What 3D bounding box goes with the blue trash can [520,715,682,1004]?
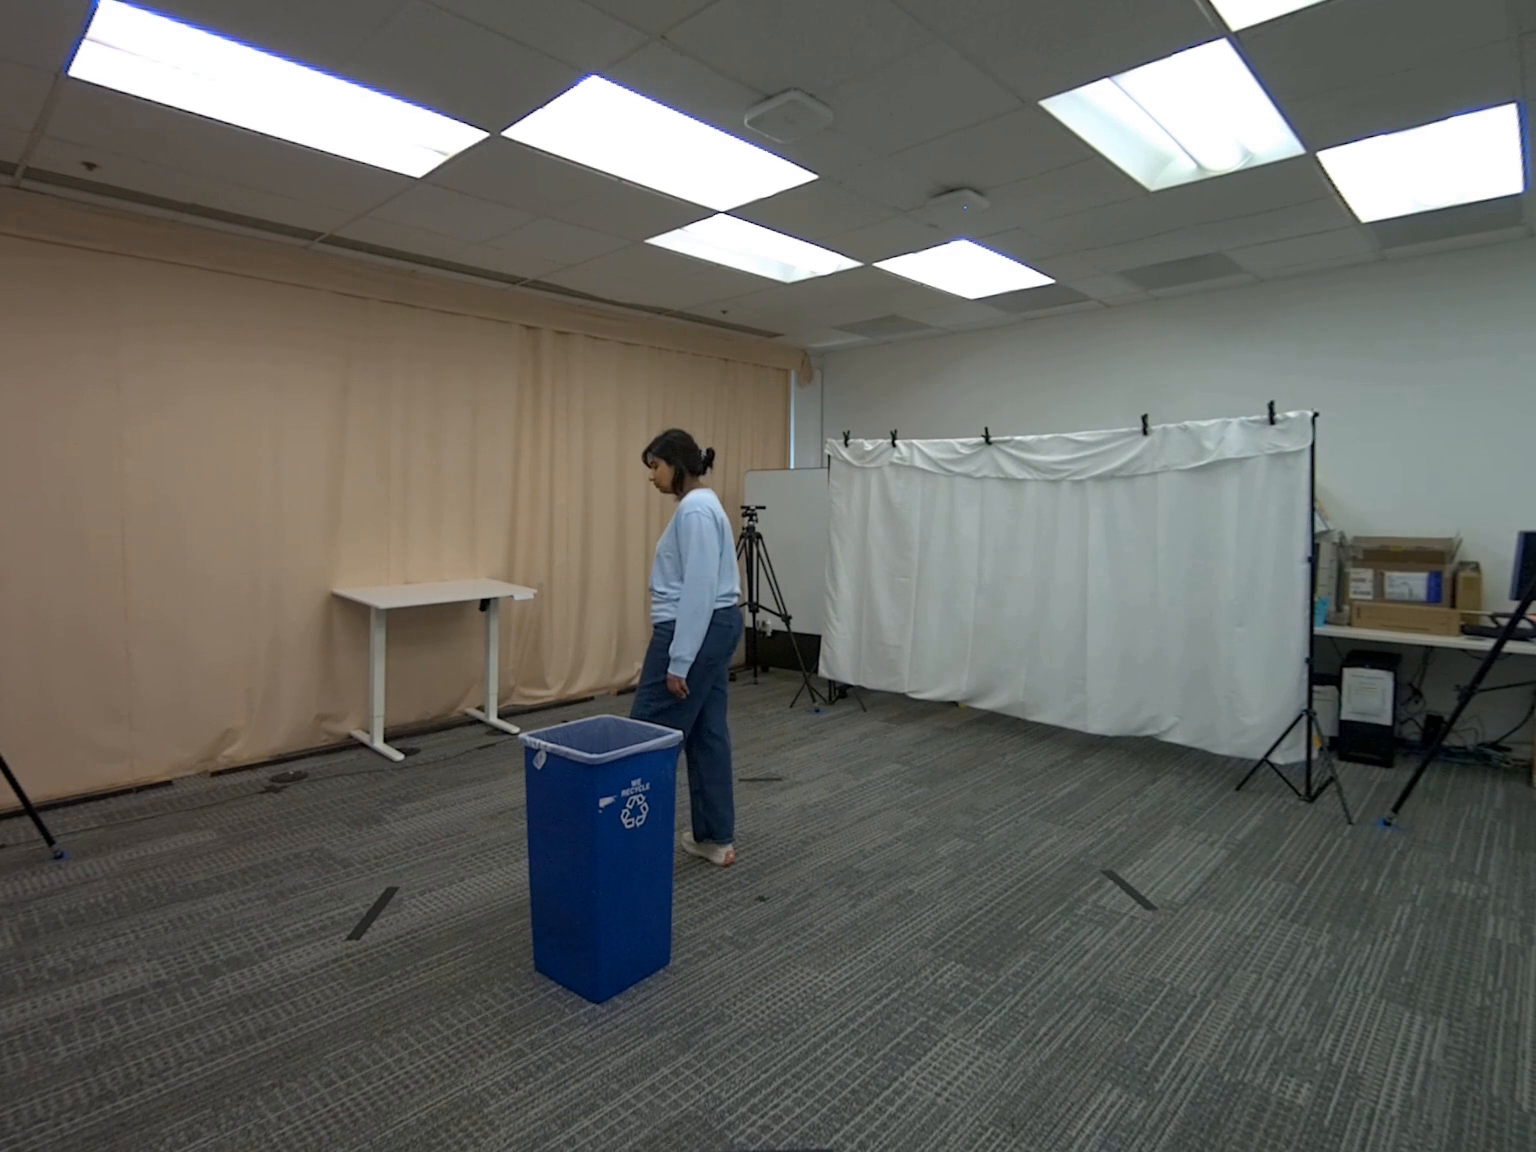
[{"bbox_3d":[-0.494,0.826,2.535,0.386,0.712,0.366,2,3,39],"label":"blue trash can"}]
